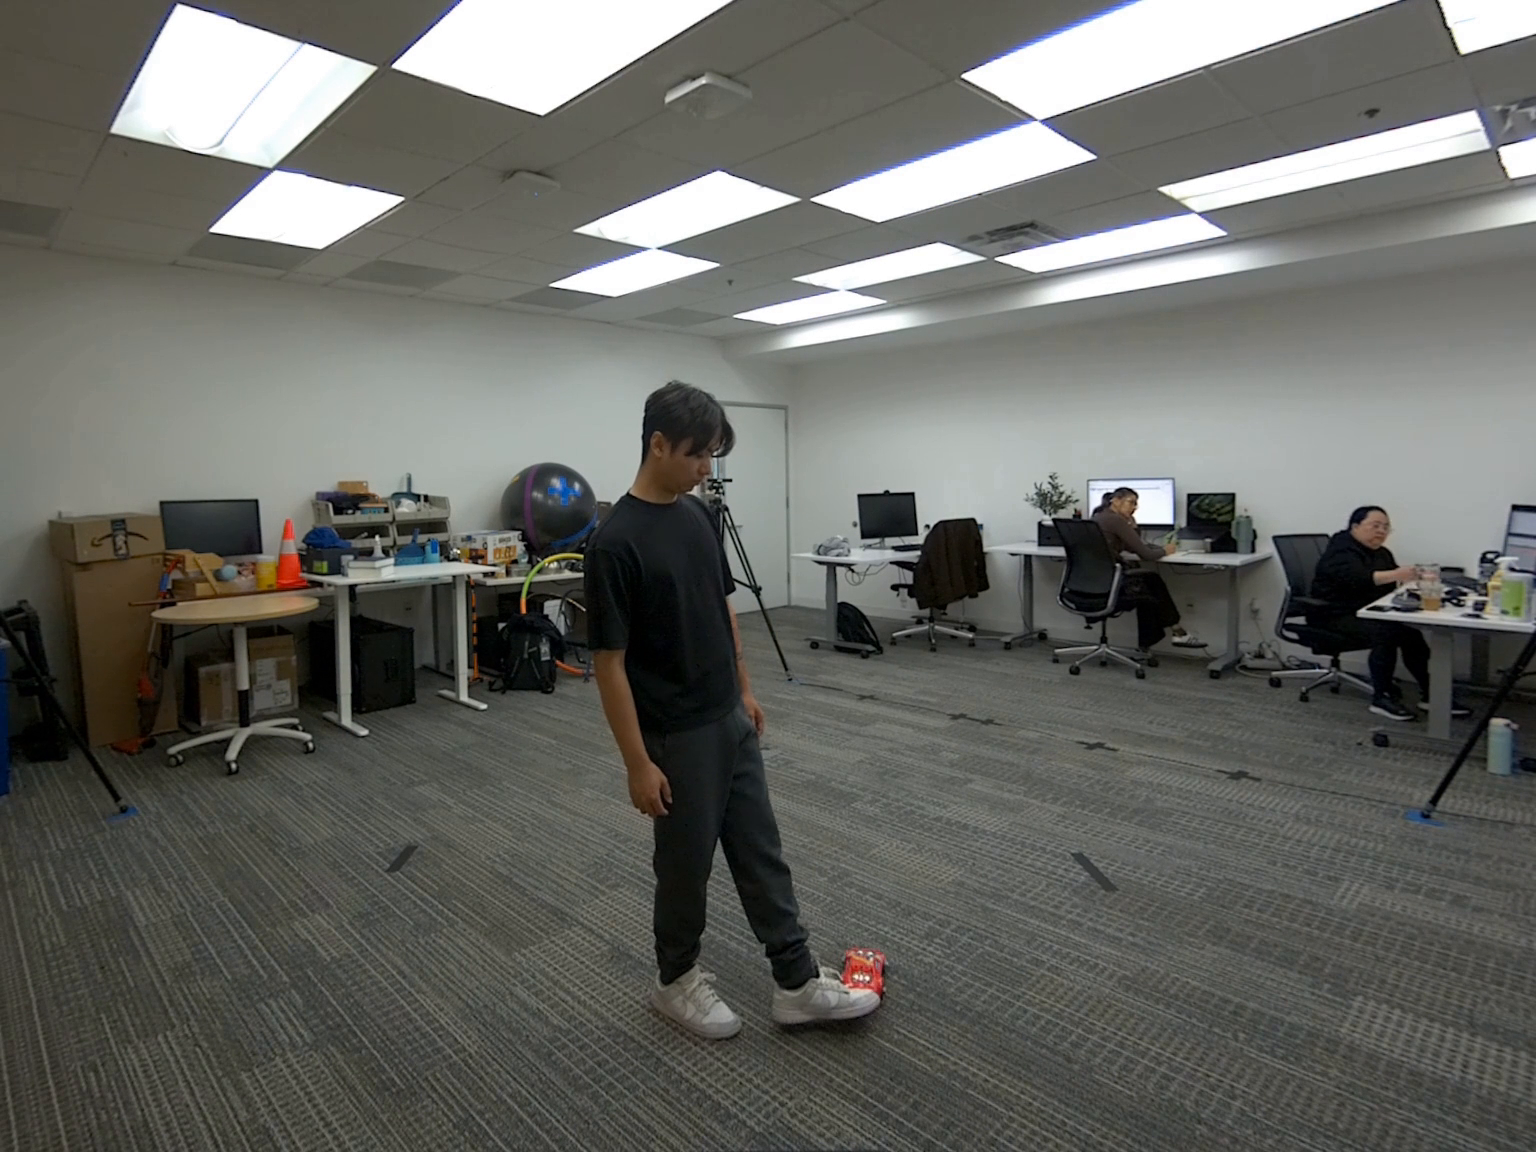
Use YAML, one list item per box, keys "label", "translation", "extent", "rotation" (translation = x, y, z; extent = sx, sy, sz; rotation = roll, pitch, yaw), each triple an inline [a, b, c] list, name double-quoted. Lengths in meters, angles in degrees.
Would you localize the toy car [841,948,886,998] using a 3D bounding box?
- label: "toy car"
  translation: [0.266, 1.094, 2.331]
  extent: [0.132, 0.084, 0.249]
  rotation: [1, -9, 12]
